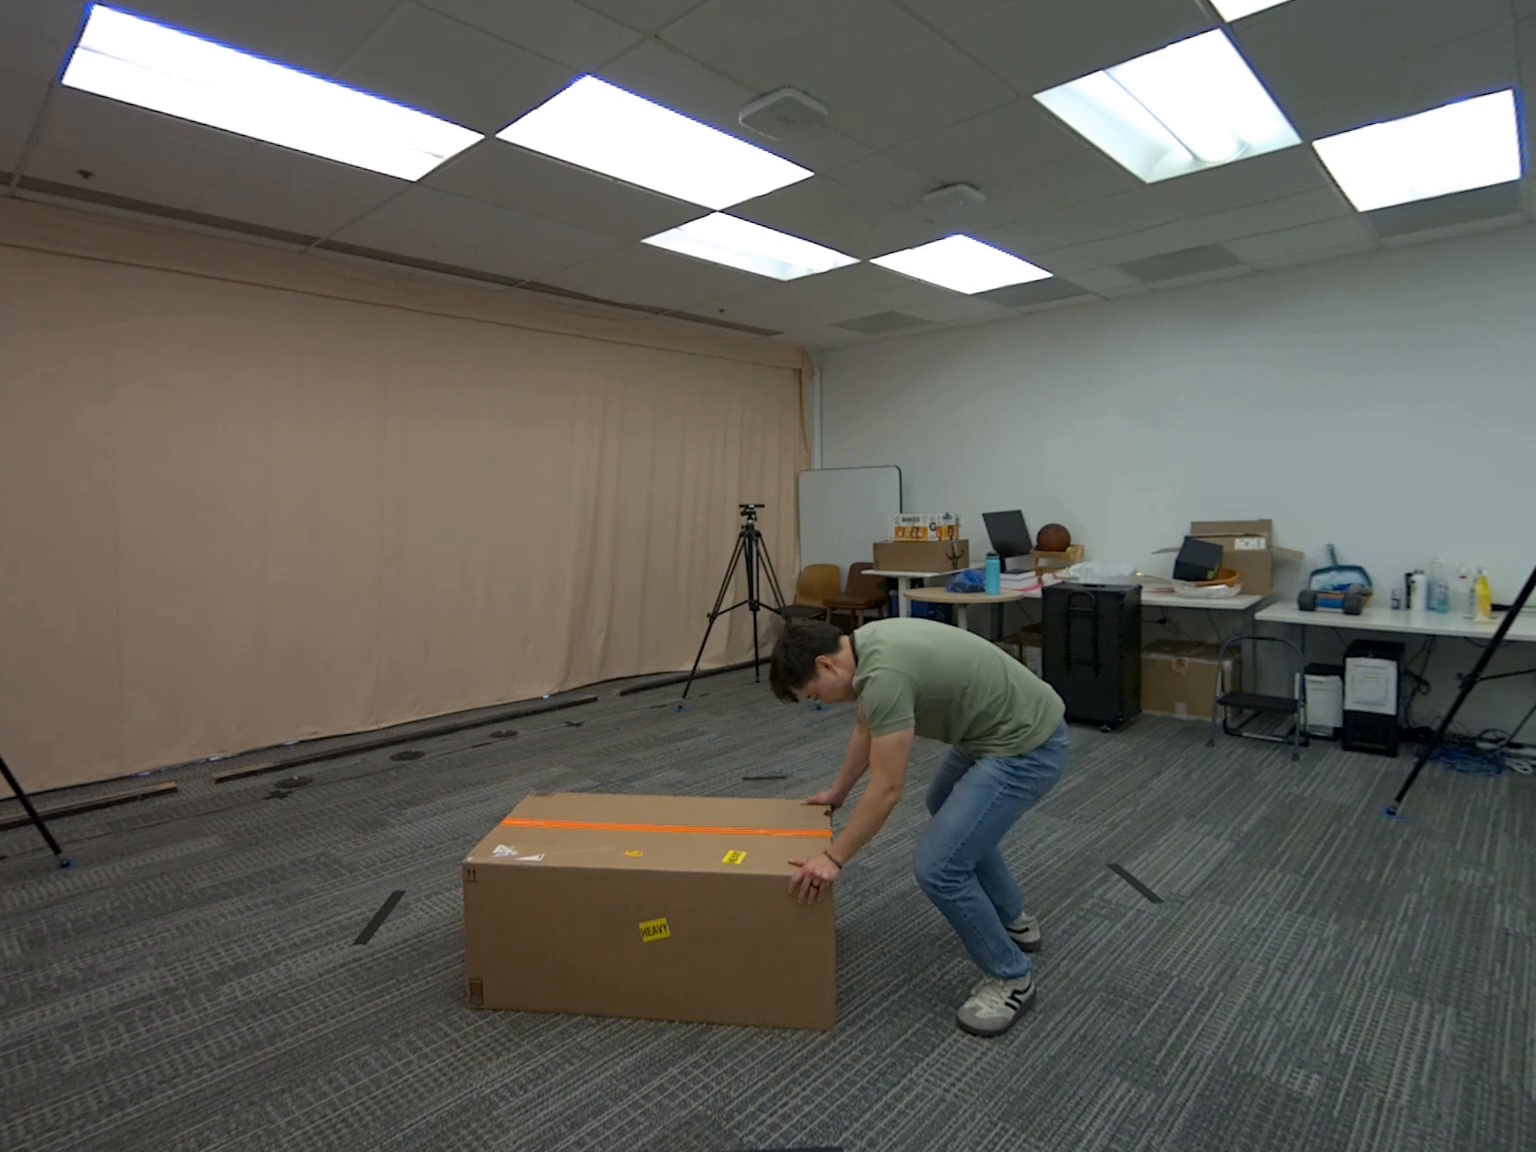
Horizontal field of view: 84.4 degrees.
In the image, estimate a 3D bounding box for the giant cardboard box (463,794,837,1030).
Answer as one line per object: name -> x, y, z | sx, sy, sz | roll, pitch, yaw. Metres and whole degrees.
giant cardboard box -> -0.323, 0.973, 2.557 | 1.034, 0.425, 0.575 | 0, 5, 7
